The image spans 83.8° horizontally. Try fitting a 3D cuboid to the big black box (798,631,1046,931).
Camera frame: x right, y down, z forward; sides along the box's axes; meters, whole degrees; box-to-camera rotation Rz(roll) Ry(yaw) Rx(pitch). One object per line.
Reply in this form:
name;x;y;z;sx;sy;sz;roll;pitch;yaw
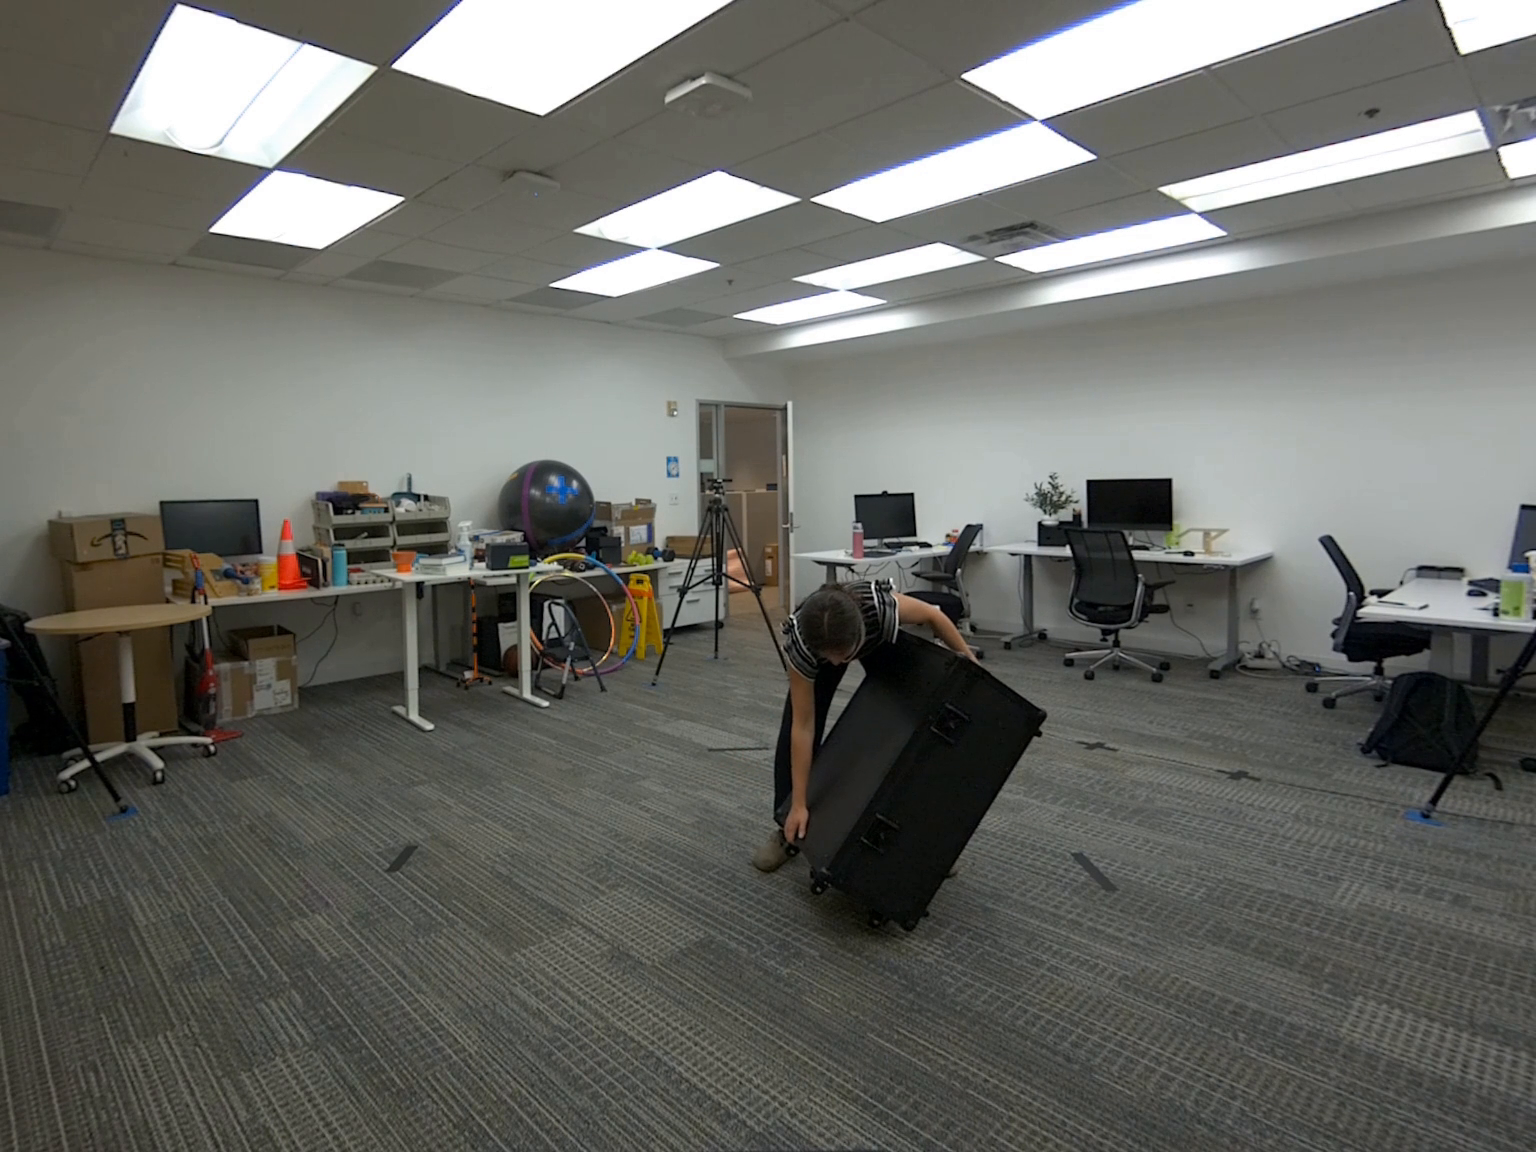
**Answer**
big black box;0.439;0.663;2.784;0.391;0.862;0.527;33;-5;-11
